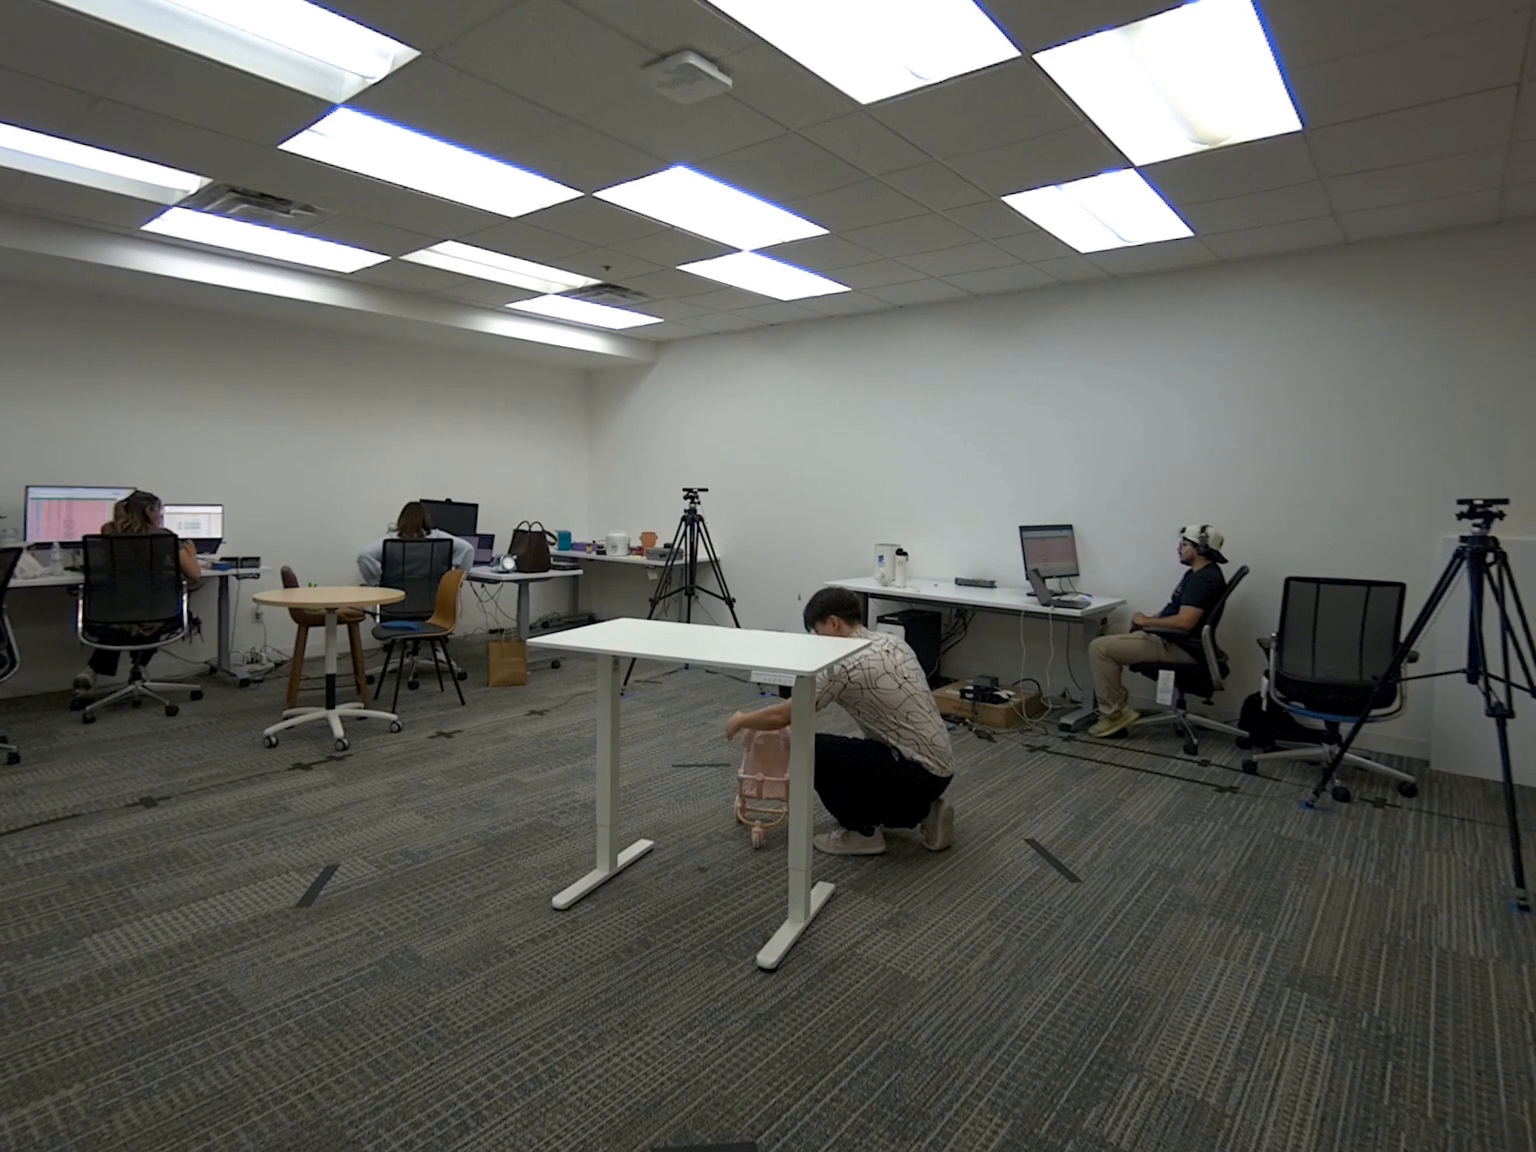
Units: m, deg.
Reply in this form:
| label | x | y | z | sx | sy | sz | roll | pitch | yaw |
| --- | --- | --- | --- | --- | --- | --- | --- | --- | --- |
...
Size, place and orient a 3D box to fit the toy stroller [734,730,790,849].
| label | x | y | z | sx | sy | sz | roll | pitch | yaw |
| --- | --- | --- | --- | --- | --- | --- | --- | --- | --- |
| toy stroller | -0.017 | 0.808 | 3.479 | 0.286 | 0.540 | 0.332 | 2 | -10 | 15 |
